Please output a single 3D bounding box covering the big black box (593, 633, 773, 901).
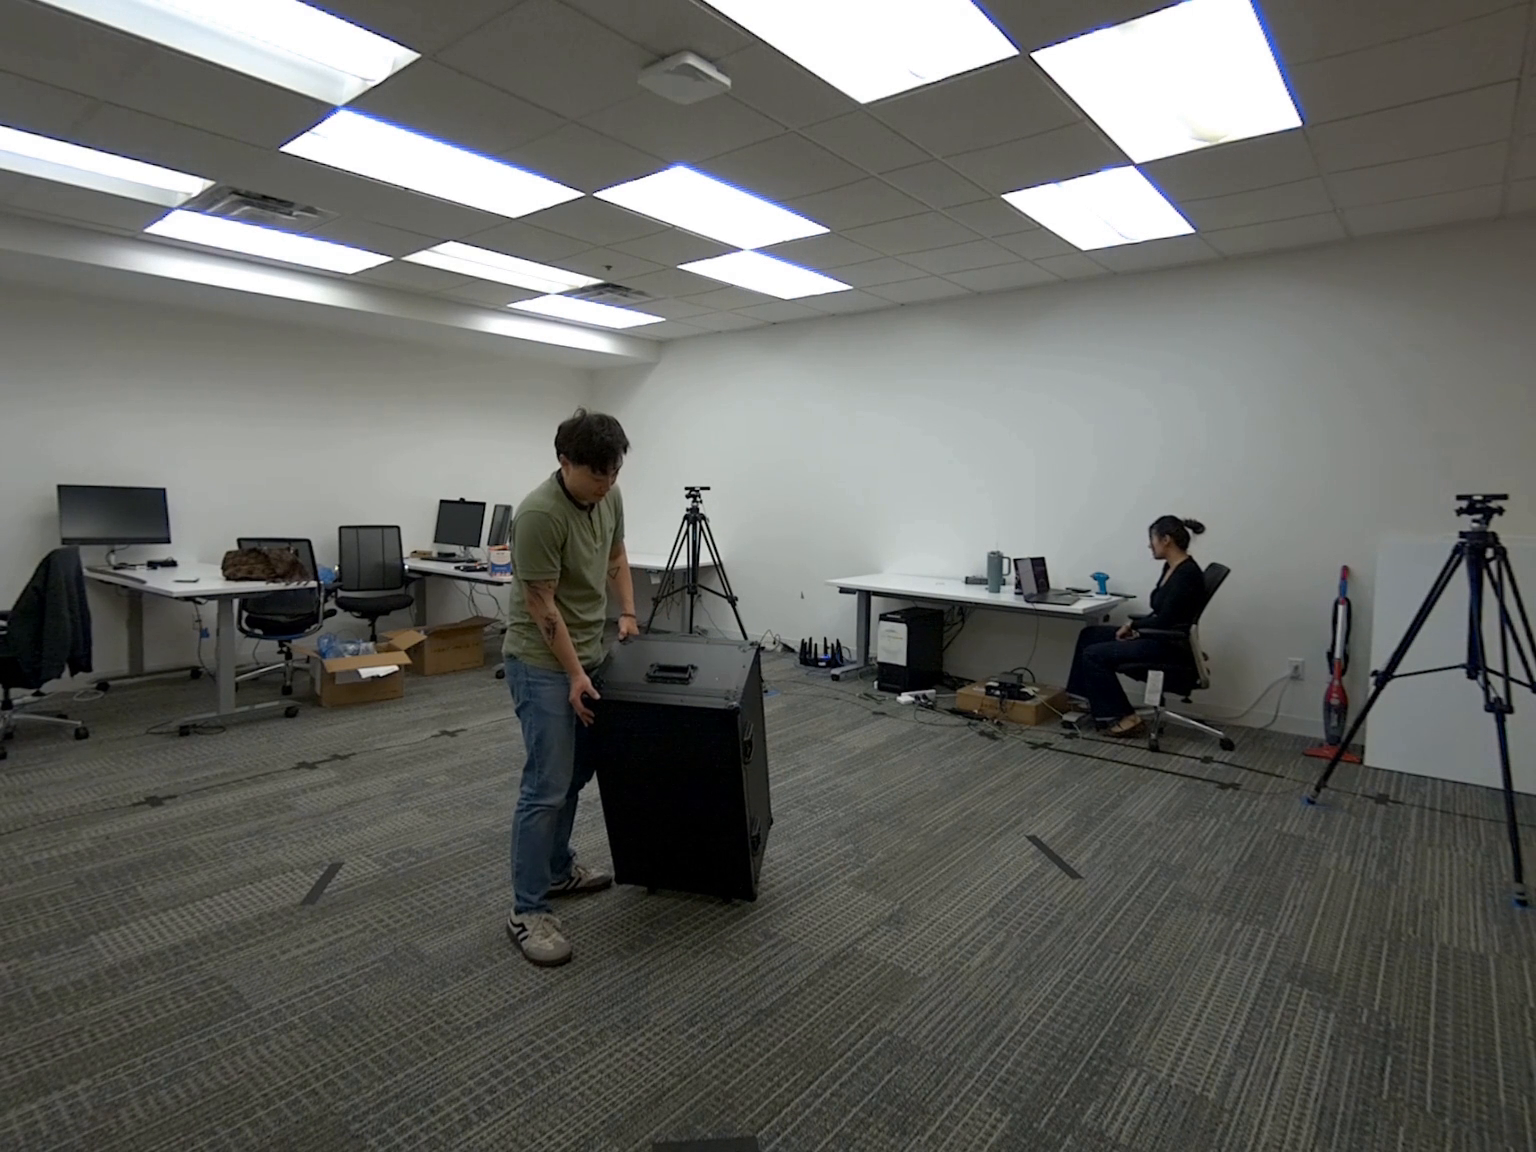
[{"bbox_3d":[-0.281,0.654,2.834,0.529,0.841,0.400,2,27,12],"label":"big black box"}]
